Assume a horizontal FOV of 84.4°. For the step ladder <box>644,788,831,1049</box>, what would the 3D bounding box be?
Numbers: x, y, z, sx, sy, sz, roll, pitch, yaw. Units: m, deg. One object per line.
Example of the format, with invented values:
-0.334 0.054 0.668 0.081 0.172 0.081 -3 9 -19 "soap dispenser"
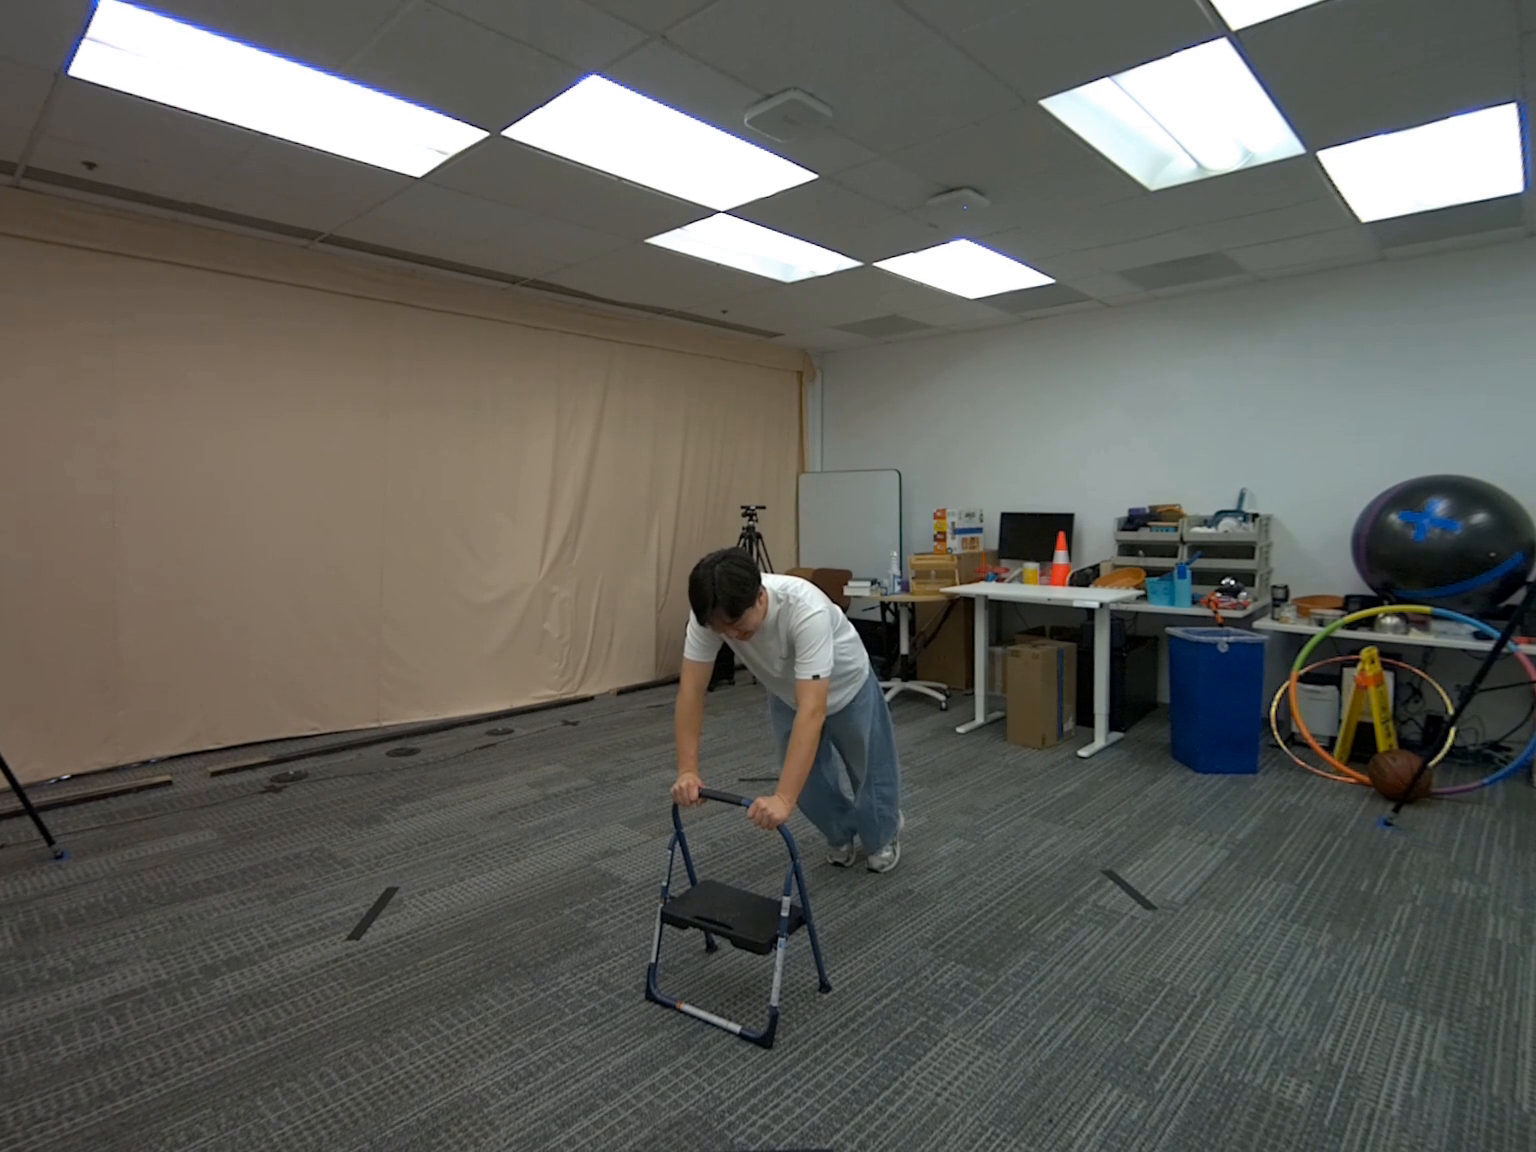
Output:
-0.089 0.893 2.385 0.443 0.604 0.340 2 4 32 "step ladder"
